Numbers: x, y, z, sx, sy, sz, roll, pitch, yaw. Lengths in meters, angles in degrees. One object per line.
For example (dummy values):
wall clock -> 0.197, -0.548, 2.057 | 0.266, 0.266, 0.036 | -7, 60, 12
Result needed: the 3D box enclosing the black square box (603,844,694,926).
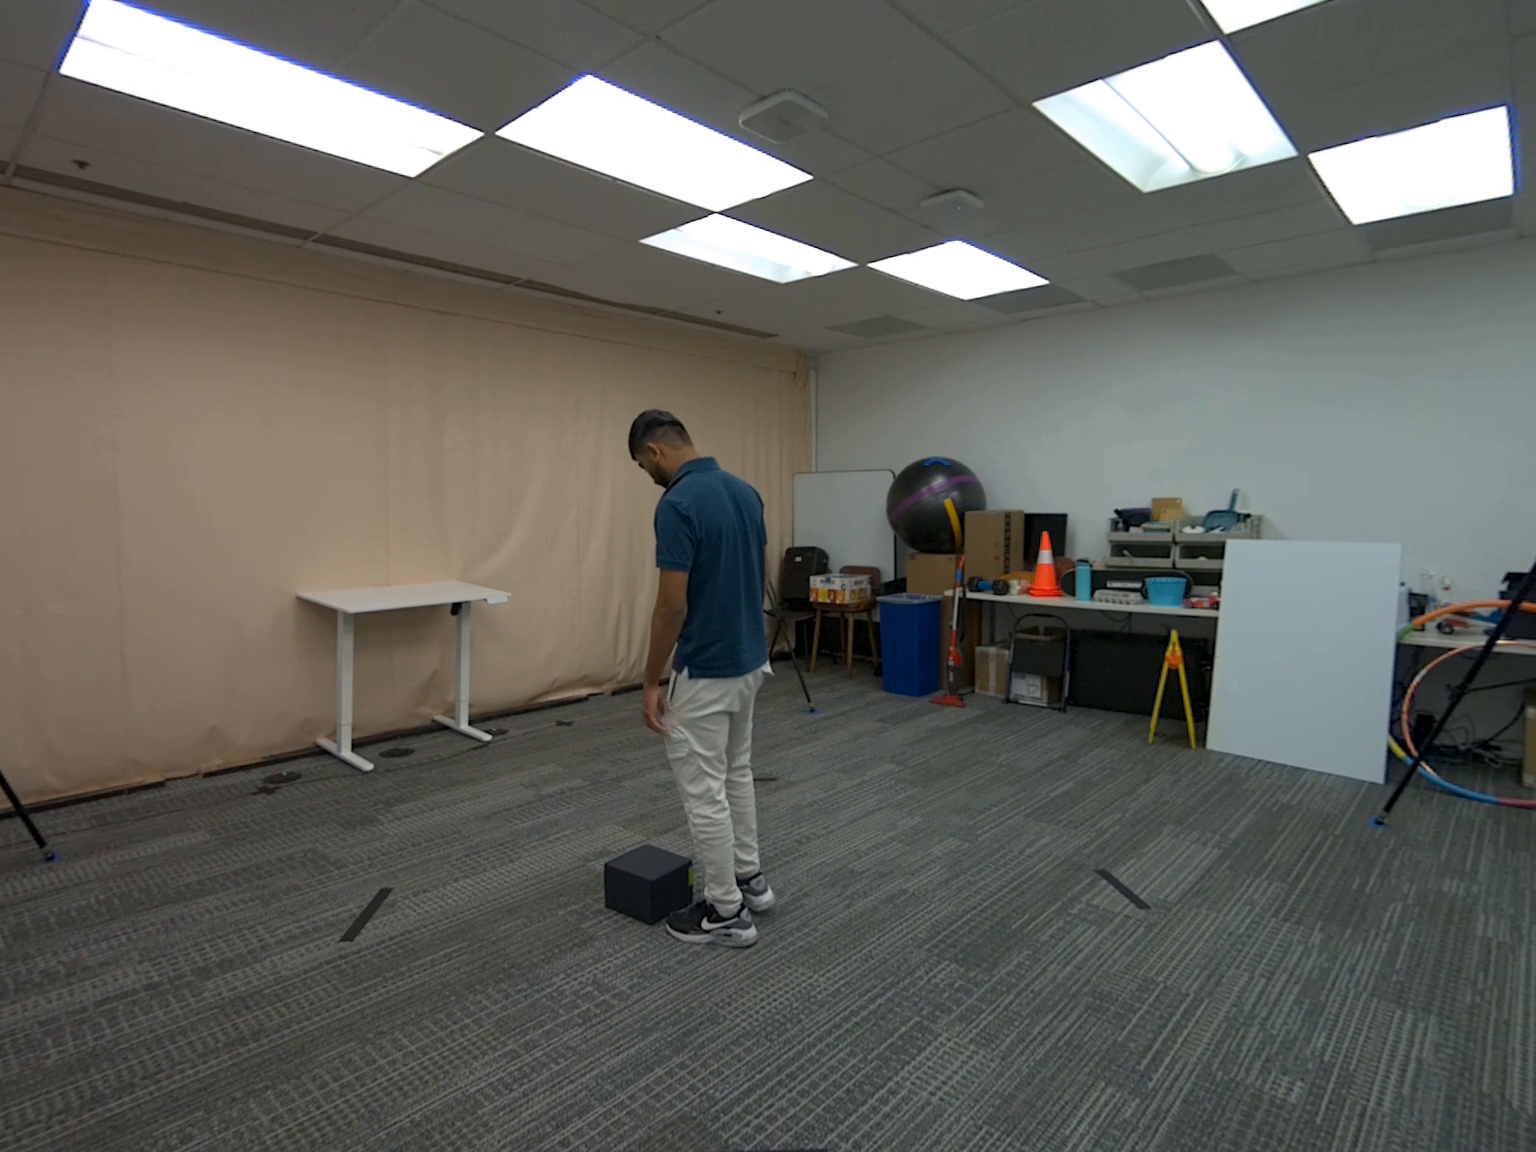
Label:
black square box -> -0.414, 1.068, 2.935 | 0.235, 0.155, 0.210 | 2, 4, 37
